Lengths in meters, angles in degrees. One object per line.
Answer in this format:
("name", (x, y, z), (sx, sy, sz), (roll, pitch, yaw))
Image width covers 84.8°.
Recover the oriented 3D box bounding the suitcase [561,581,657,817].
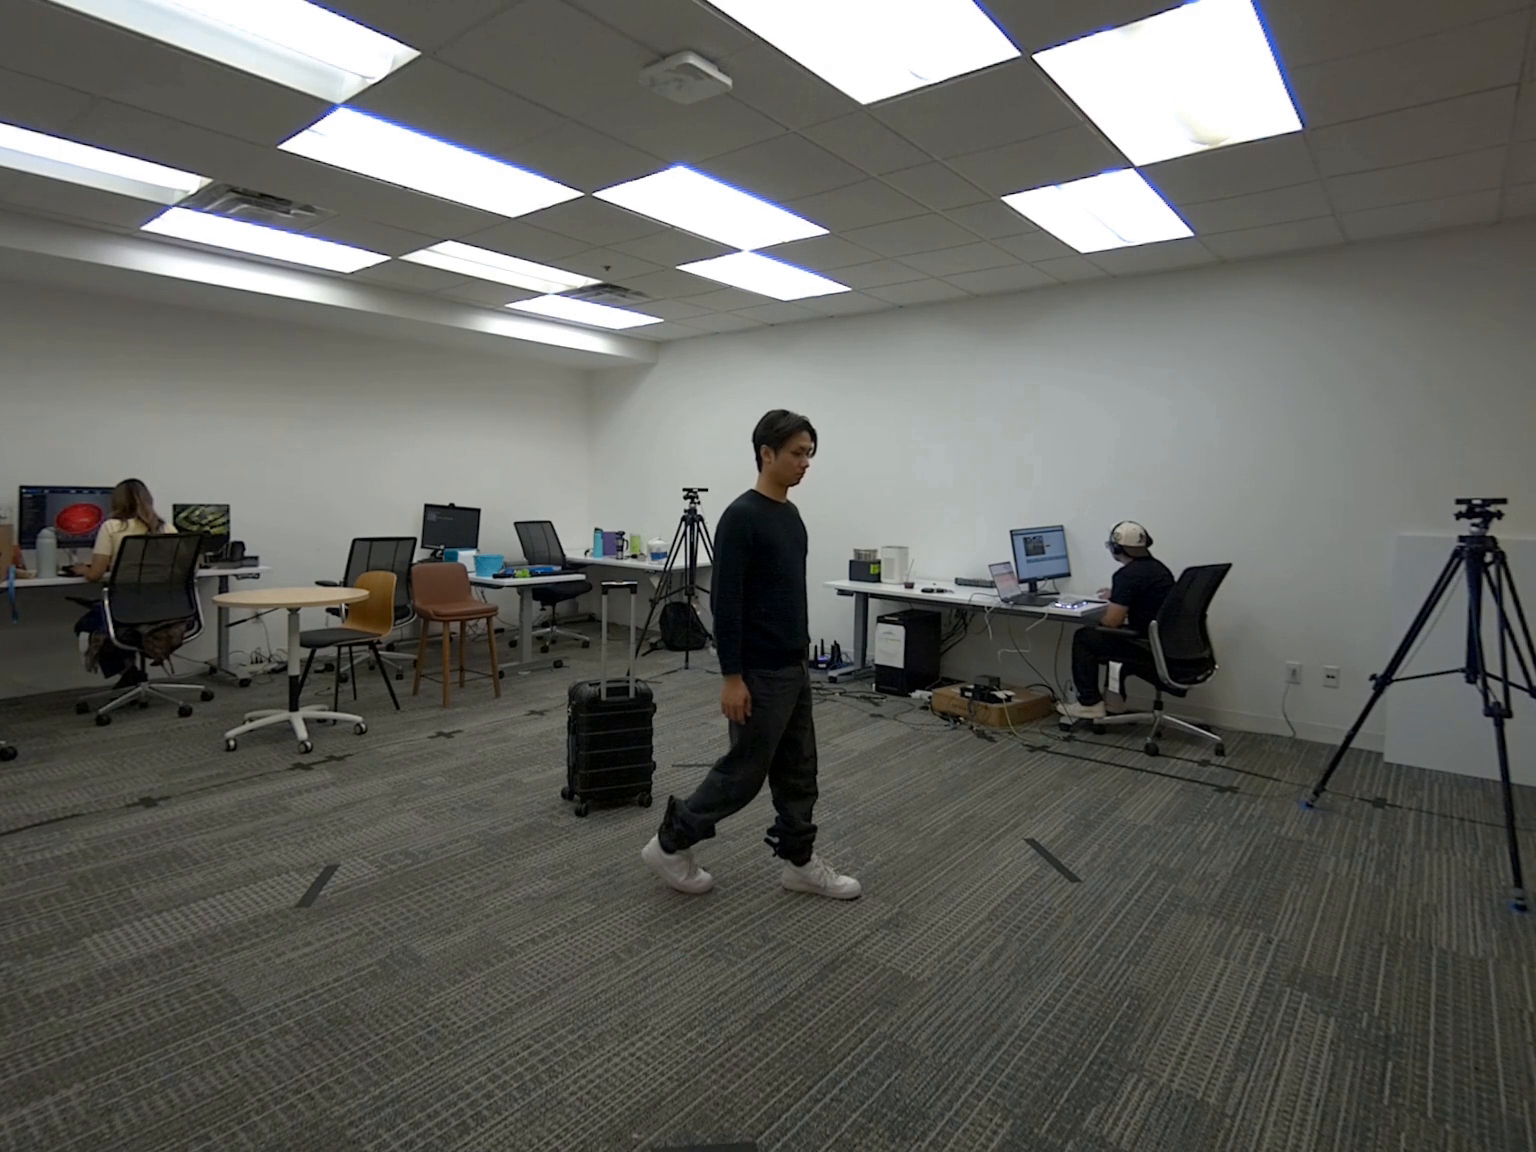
("suitcase", (-0.716, 0.522, 3.762), (0.375, 0.979, 0.263), (0, 0, -23))
